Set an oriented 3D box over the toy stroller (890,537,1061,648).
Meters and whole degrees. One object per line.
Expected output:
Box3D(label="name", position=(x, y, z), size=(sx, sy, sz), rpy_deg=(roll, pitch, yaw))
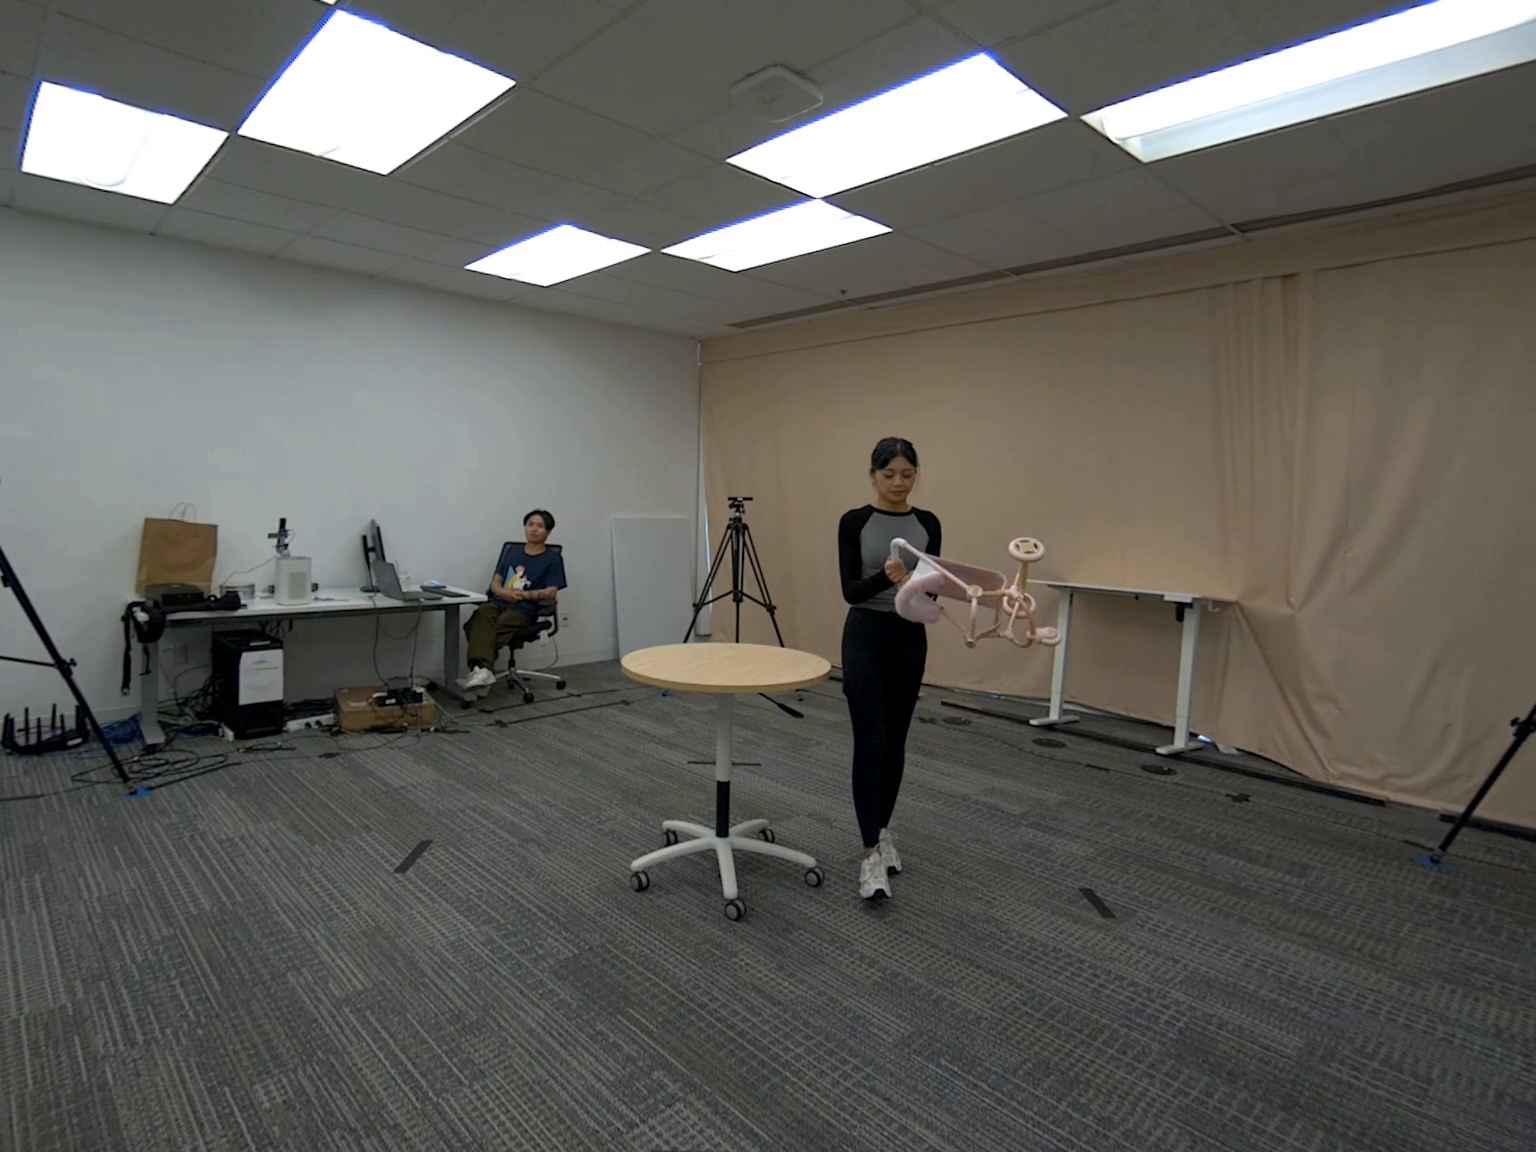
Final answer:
Box3D(label="toy stroller", position=(0.642, 0.074, 2.692), size=(0.541, 0.274, 0.346), rpy_deg=(6, 48, 13))
